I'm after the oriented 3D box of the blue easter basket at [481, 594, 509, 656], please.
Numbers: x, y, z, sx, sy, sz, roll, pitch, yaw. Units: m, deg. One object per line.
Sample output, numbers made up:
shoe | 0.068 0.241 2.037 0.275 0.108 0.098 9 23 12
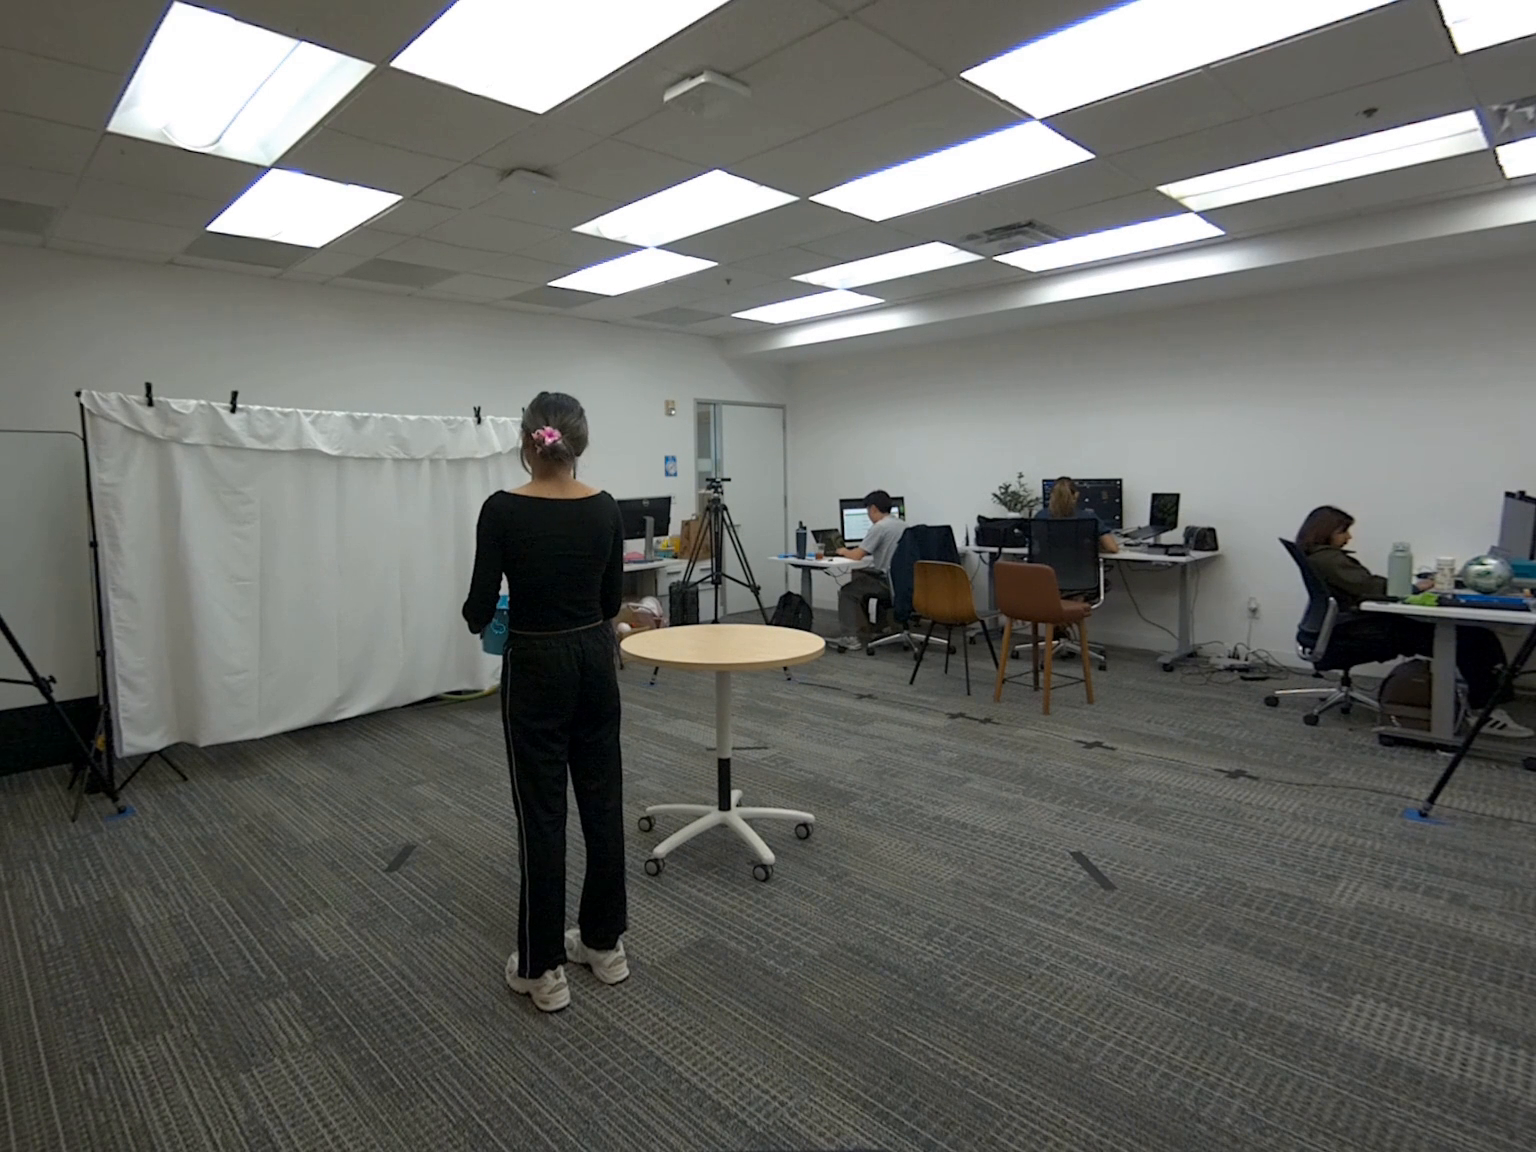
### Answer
blue easter basket | -0.789 0.159 2.650 0.243 0.155 0.245 3 8 -2
